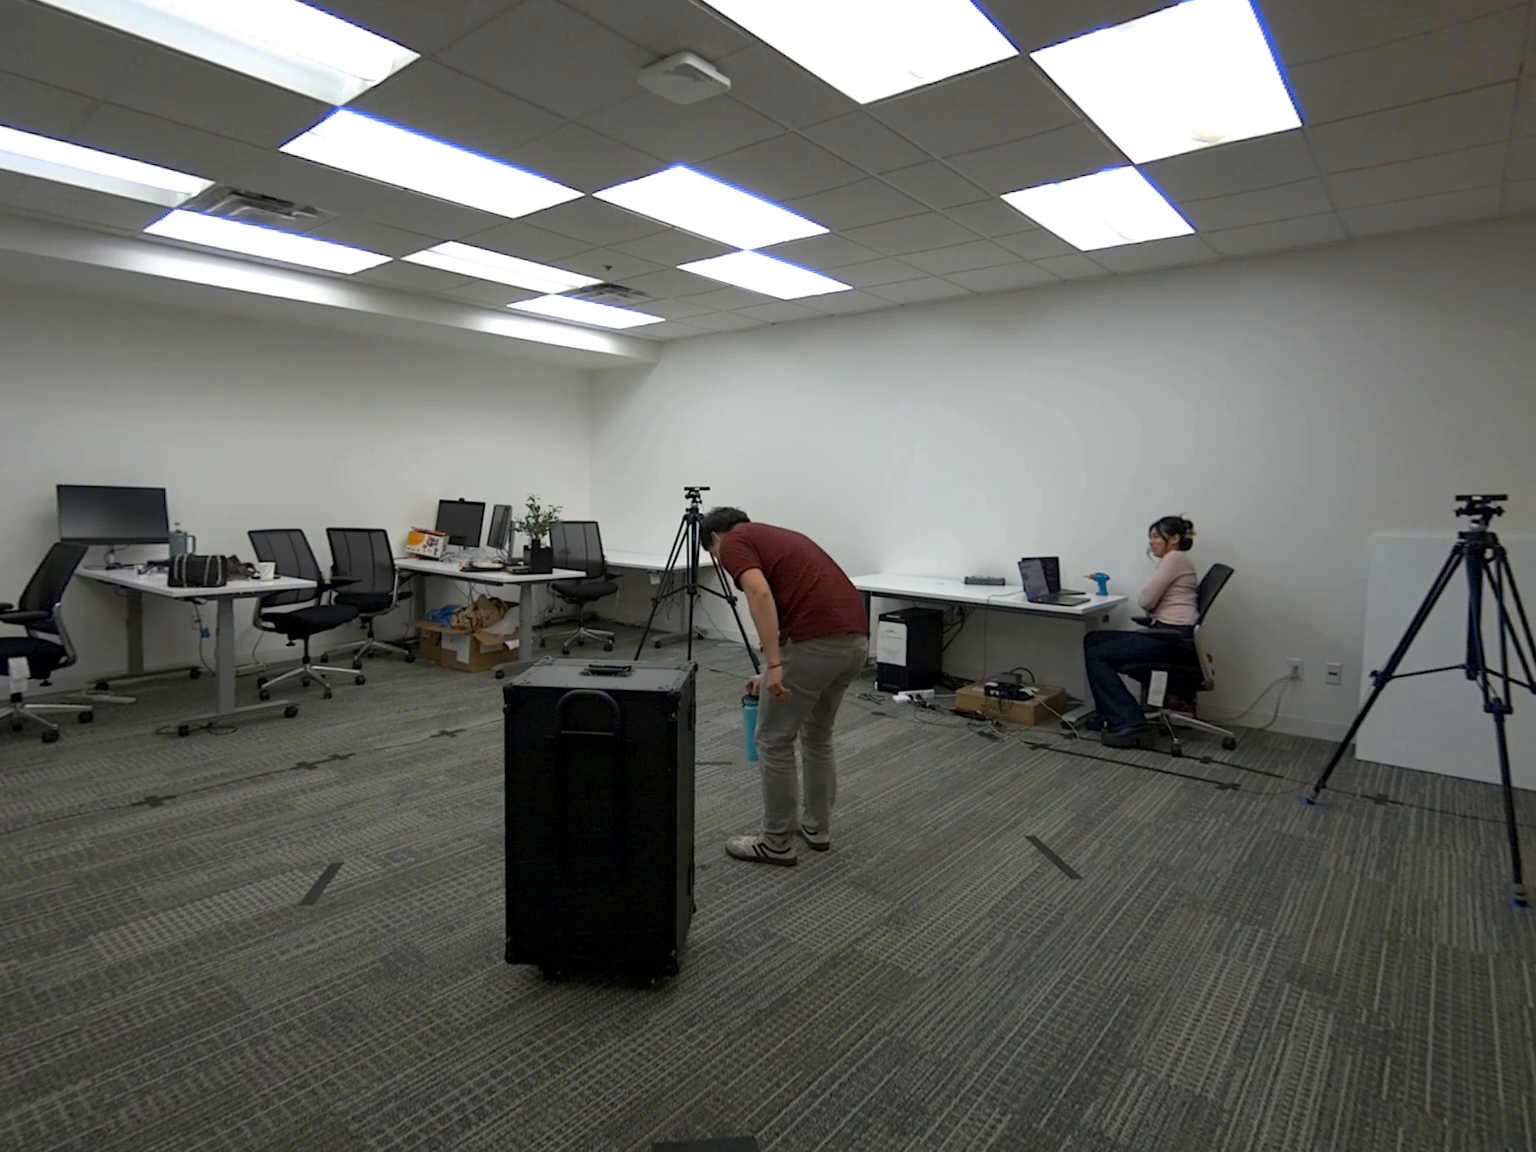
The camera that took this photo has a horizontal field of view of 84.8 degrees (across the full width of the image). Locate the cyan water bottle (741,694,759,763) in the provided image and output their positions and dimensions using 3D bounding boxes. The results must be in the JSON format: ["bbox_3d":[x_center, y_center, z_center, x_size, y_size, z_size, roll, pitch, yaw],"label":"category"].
[{"bbox_3d":[-0.071,0.621,3.560,0.092,0.284,0.092,-2,-3,-2],"label":"cyan water bottle"}]
